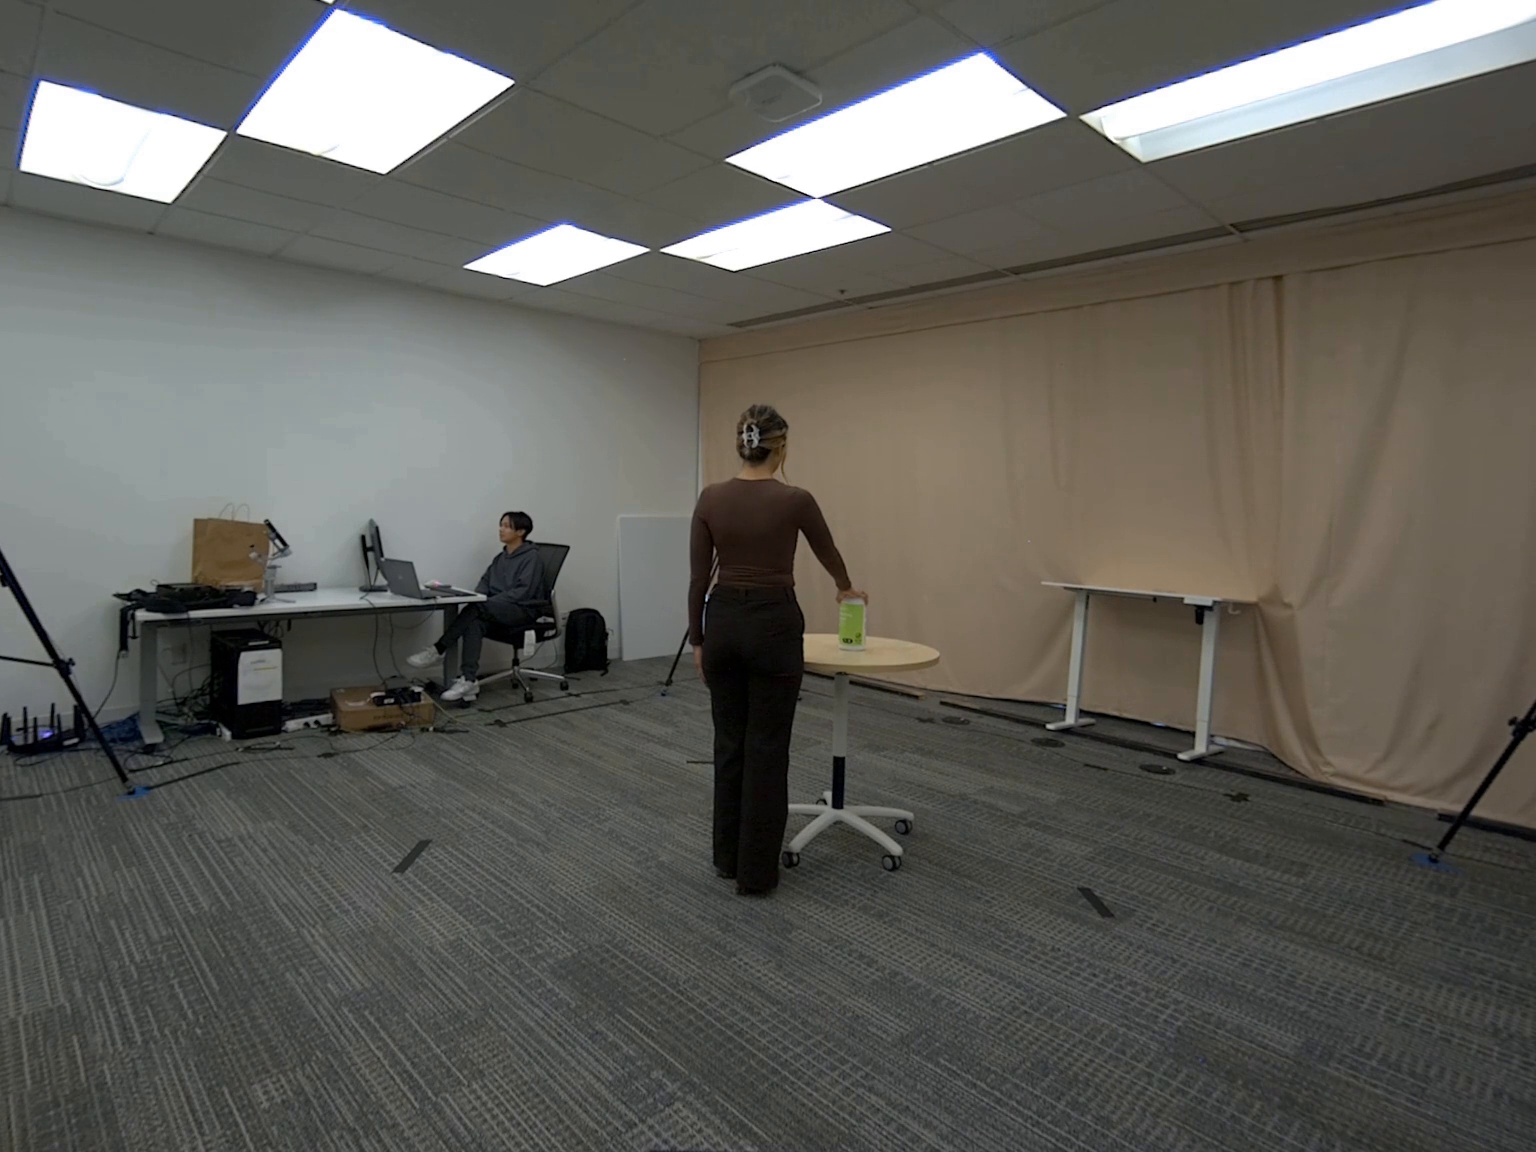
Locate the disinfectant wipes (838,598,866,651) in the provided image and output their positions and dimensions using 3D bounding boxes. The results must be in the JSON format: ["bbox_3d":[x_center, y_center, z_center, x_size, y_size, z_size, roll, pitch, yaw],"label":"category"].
[{"bbox_3d":[0.339,0.188,3.400,0.118,0.216,0.118,0,6,-1],"label":"disinfectant wipes"}]
